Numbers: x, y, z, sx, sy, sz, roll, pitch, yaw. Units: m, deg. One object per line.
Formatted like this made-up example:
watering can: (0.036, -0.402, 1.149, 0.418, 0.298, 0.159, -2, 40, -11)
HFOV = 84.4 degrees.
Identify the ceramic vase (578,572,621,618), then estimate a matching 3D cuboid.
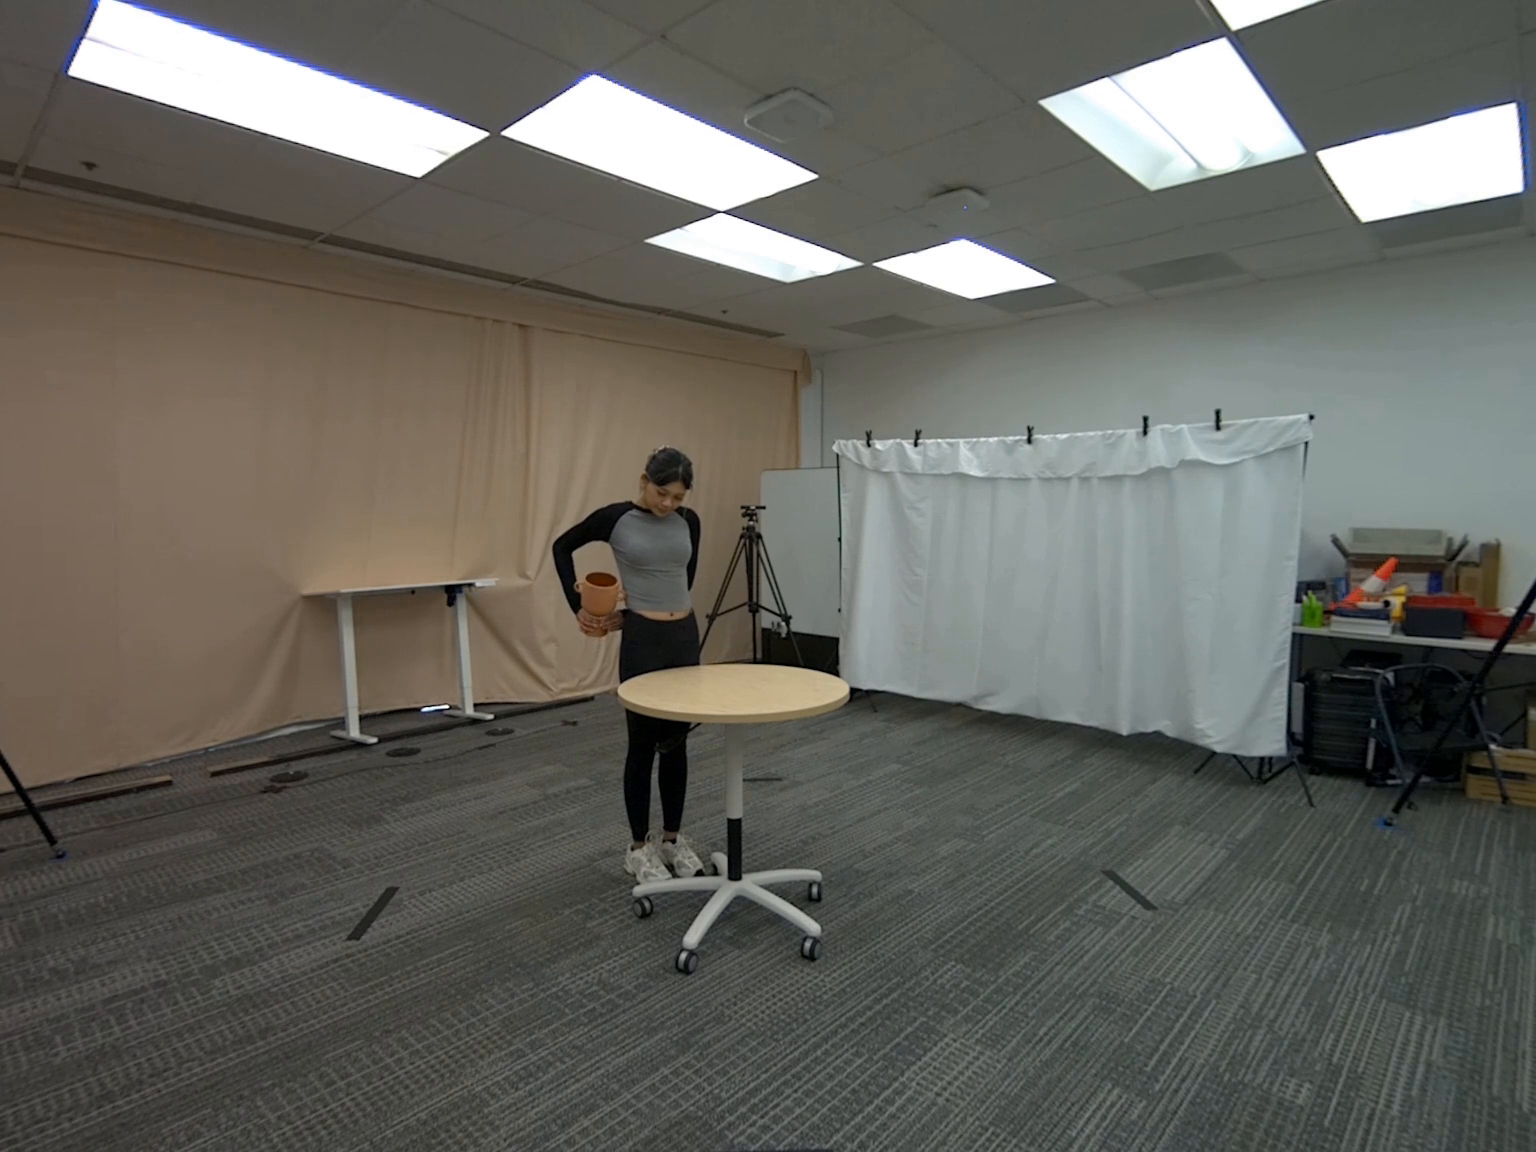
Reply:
ceramic vase: (-0.630, 0.109, 3.145, 0.131, 0.218, 0.165, -9, 28, -44)
